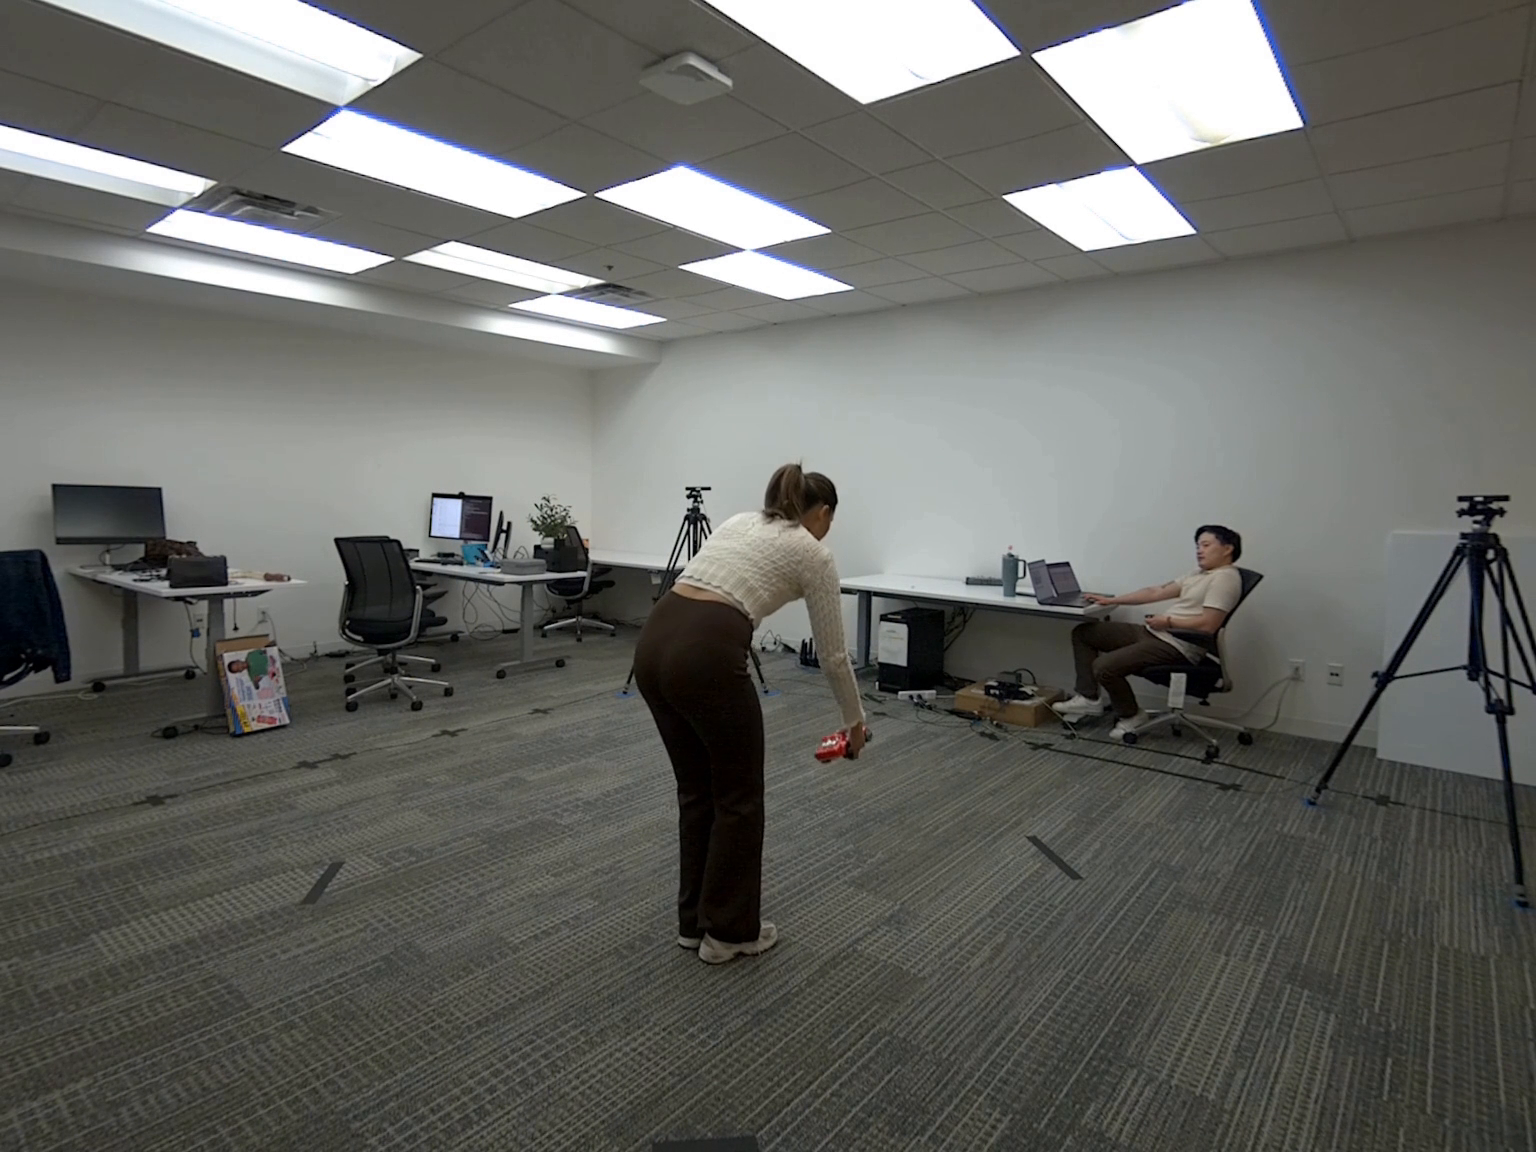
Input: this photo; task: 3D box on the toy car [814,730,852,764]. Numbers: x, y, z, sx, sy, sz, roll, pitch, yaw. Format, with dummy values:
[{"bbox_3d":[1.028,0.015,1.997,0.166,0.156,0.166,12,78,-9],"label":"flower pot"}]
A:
[{"bbox_3d":[0.233,0.555,2.796,0.132,0.084,0.247,-21,-10,35],"label":"toy car"}]
